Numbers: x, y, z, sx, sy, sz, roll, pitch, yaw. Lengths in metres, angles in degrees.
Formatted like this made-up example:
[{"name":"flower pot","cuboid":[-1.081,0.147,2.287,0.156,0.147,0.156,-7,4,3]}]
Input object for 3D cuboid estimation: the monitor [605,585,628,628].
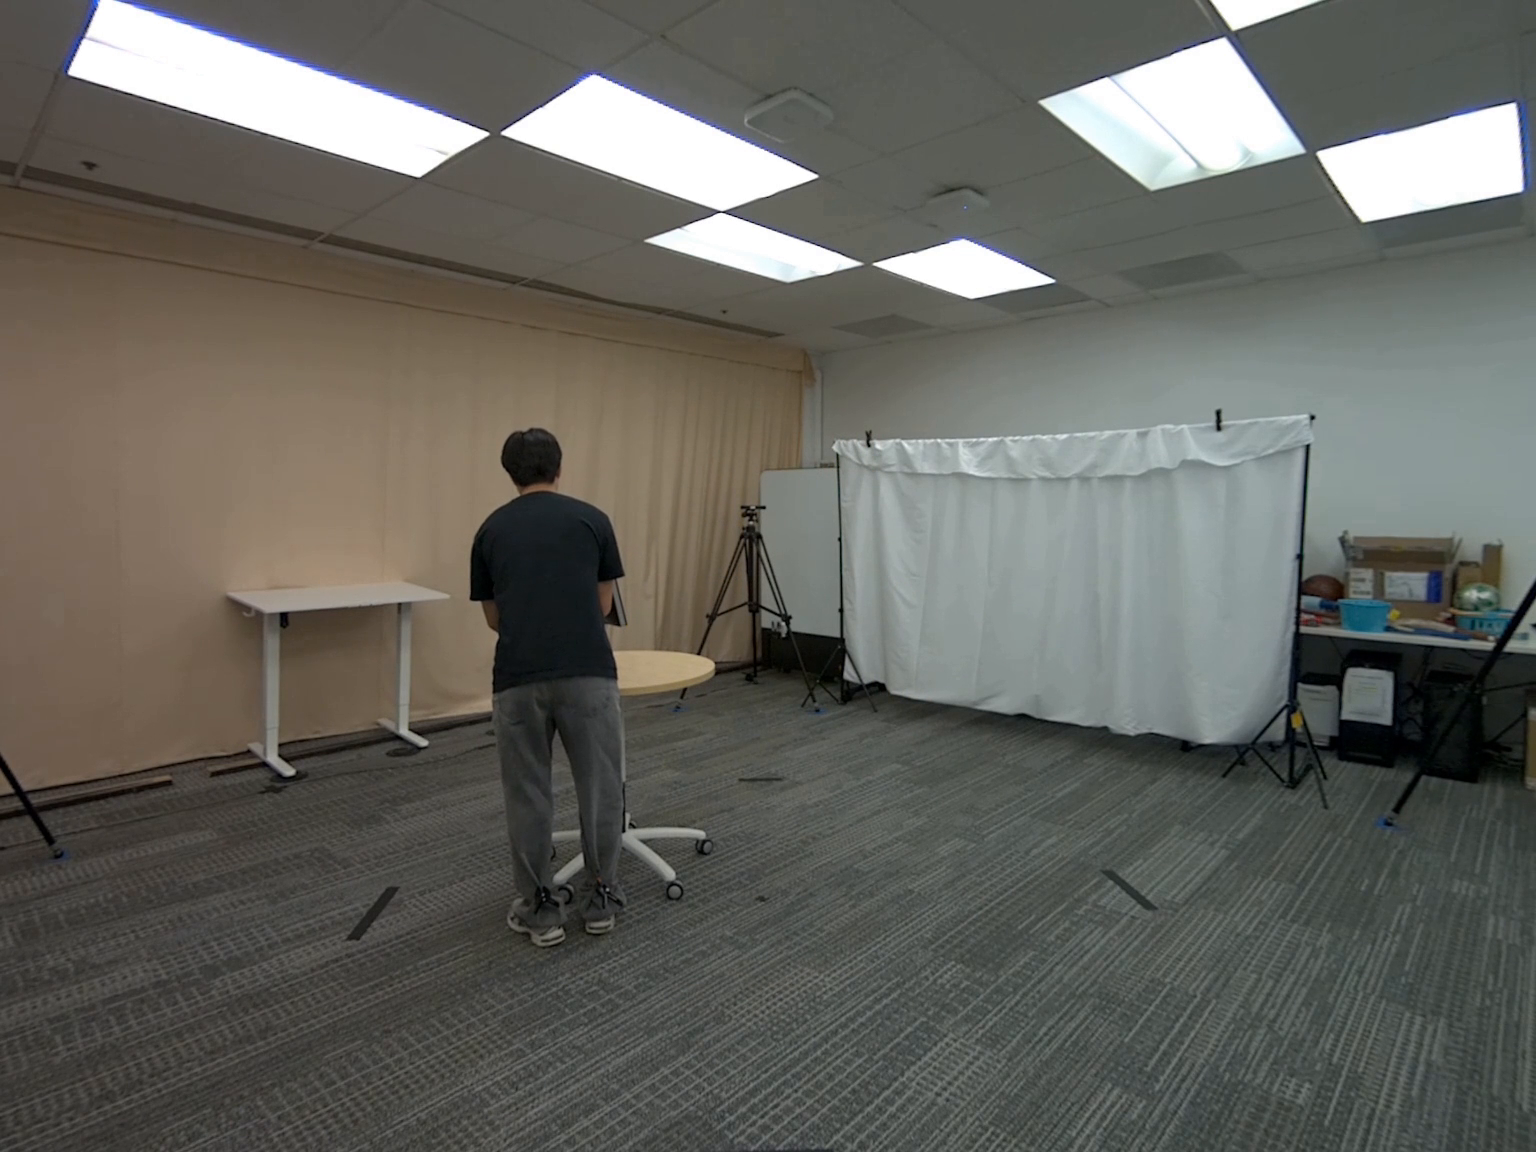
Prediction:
[{"name":"monitor","cuboid":[-0.739,0.097,3.176,0.216,0.565,0.579,0,2,-32]}]
